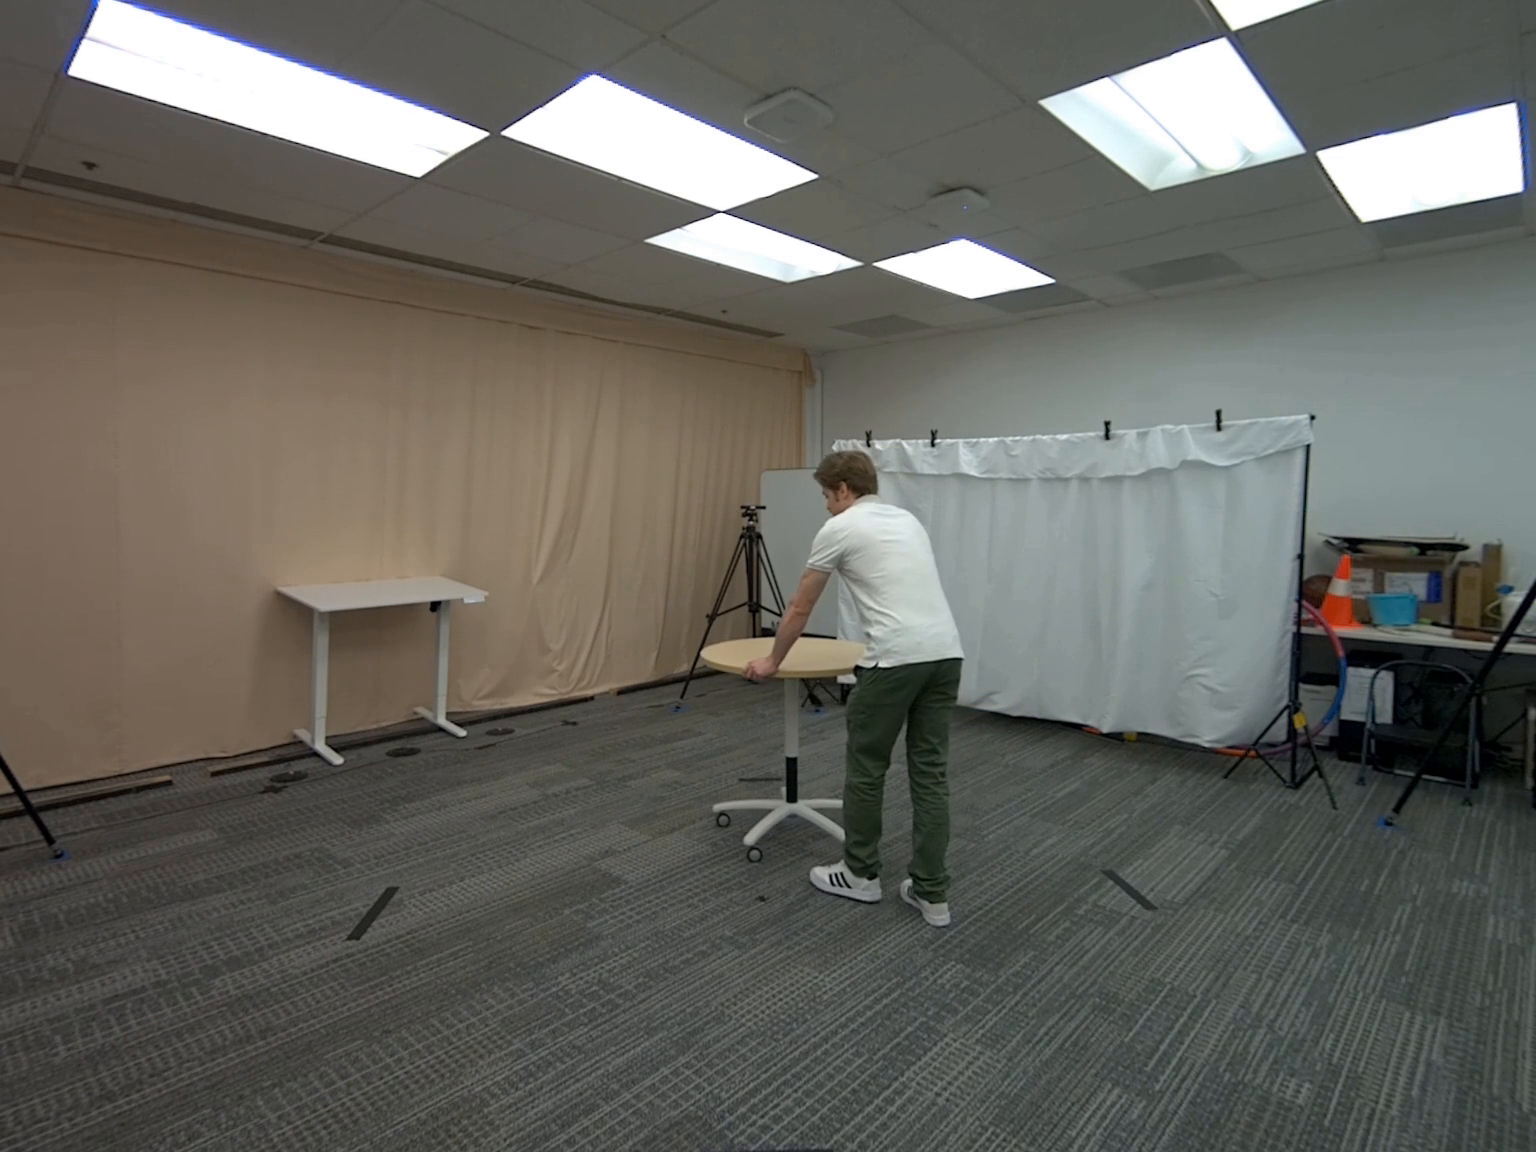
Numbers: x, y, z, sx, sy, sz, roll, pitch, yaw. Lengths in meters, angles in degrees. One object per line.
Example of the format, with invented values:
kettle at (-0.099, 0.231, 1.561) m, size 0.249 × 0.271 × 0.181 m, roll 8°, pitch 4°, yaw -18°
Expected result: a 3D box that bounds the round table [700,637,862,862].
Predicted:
round table at (0.101, 0.710, 3.556) m, size 0.763 × 0.792 × 0.767 m, roll -1°, pitch 4°, yaw -2°
